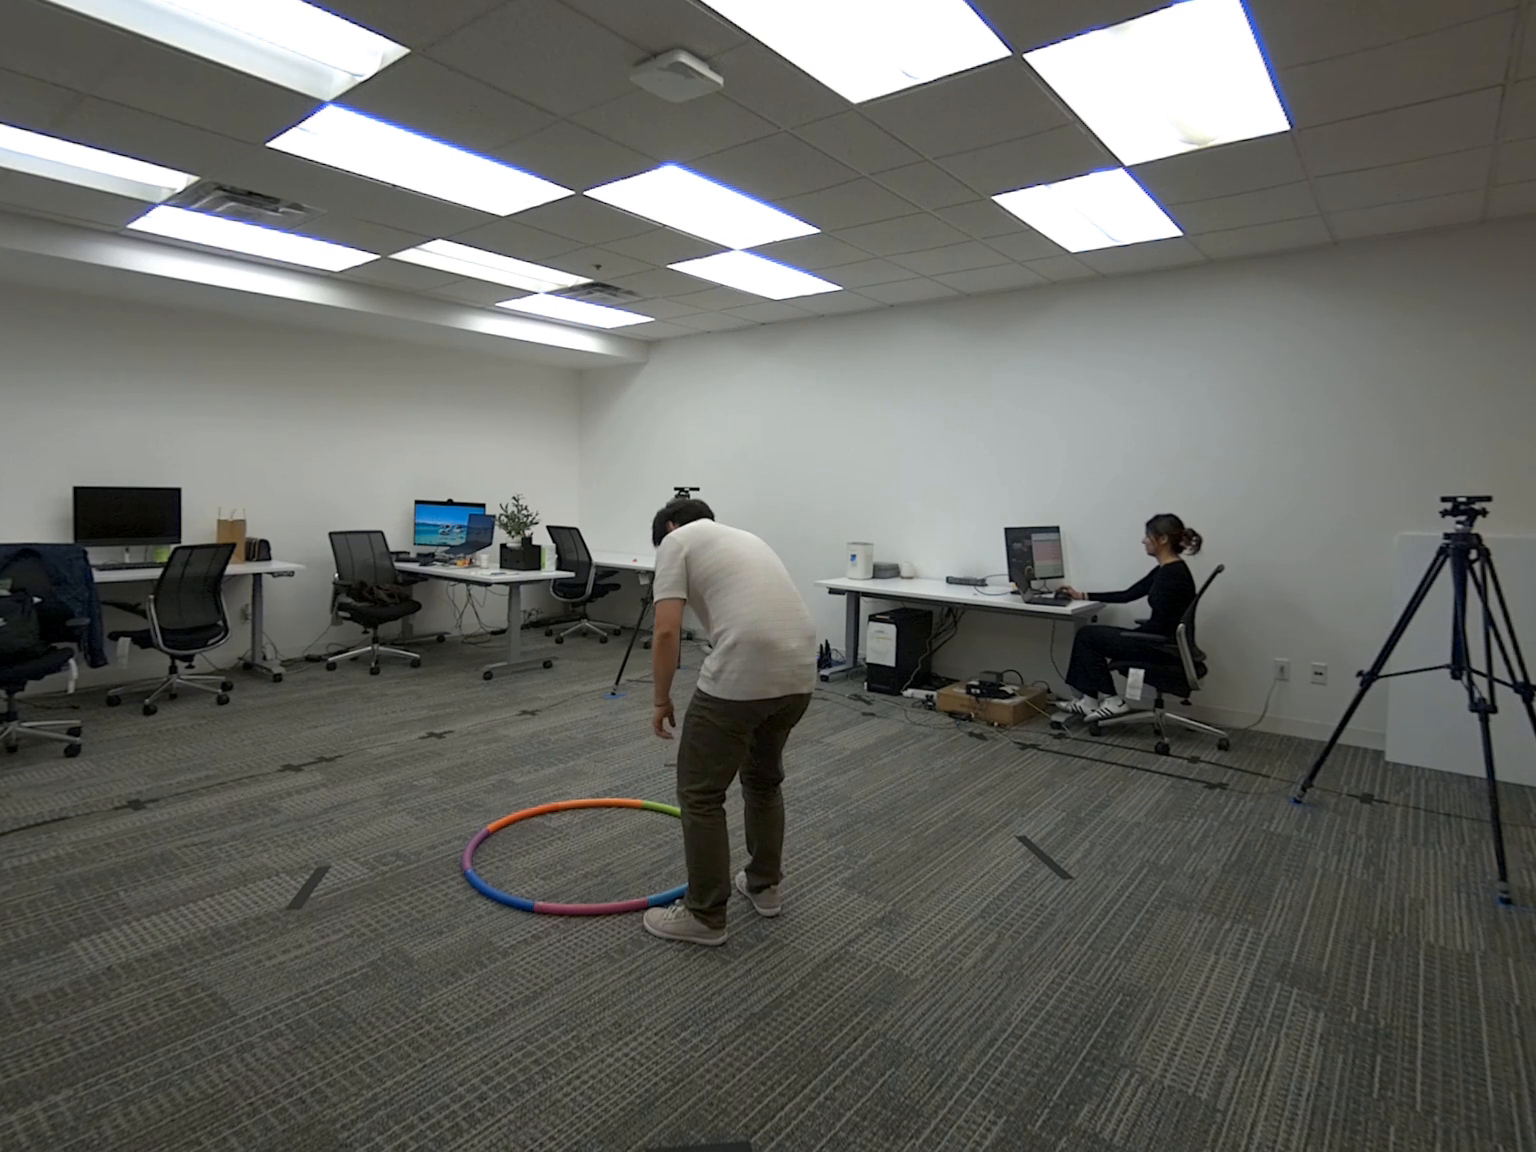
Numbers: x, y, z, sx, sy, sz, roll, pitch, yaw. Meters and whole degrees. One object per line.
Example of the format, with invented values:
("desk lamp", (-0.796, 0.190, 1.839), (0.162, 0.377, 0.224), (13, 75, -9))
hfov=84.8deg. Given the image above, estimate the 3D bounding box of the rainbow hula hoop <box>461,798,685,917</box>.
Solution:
("rainbow hula hoop", (-0.652, 1.017, 3.223), (0.978, 0.035, 0.984), (1, 6, -2))
